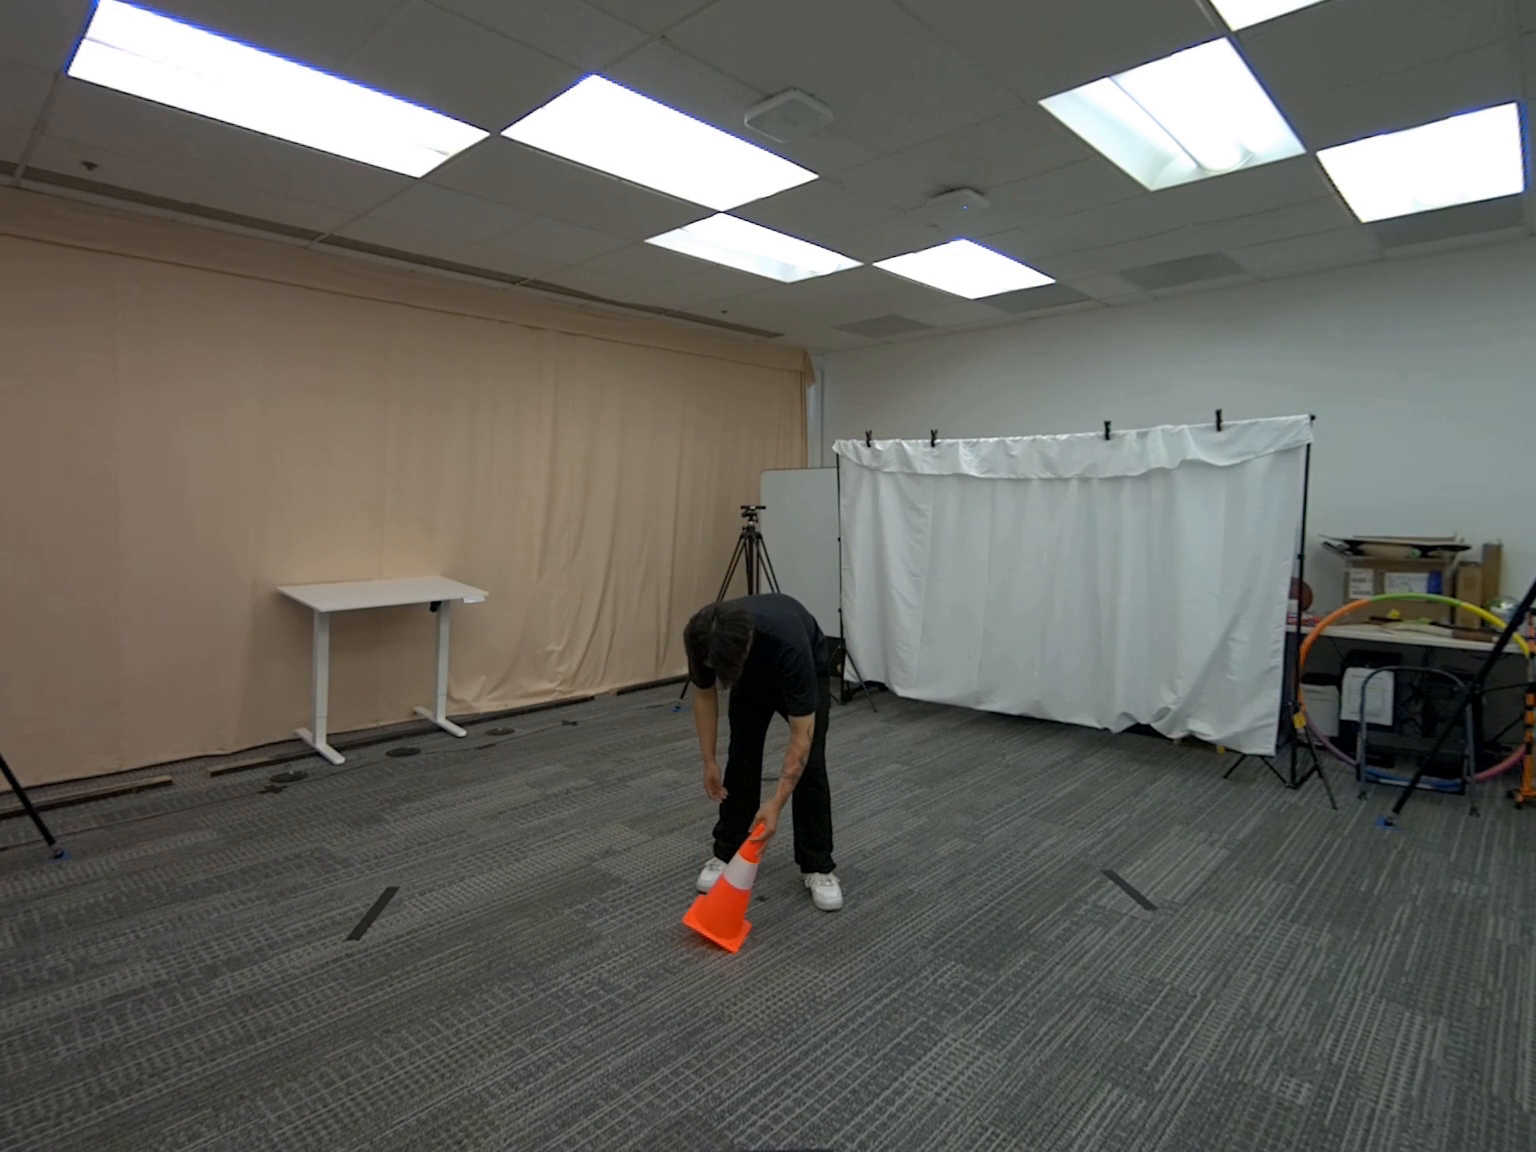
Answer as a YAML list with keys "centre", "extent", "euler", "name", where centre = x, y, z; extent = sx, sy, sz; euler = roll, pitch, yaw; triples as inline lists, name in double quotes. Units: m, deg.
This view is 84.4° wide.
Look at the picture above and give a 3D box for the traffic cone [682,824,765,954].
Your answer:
- centre: [-0.090, 0.956, 2.708]
  extent: [0.209, 0.383, 0.200]
  euler: [24, 9, 13]
  name: "traffic cone"
